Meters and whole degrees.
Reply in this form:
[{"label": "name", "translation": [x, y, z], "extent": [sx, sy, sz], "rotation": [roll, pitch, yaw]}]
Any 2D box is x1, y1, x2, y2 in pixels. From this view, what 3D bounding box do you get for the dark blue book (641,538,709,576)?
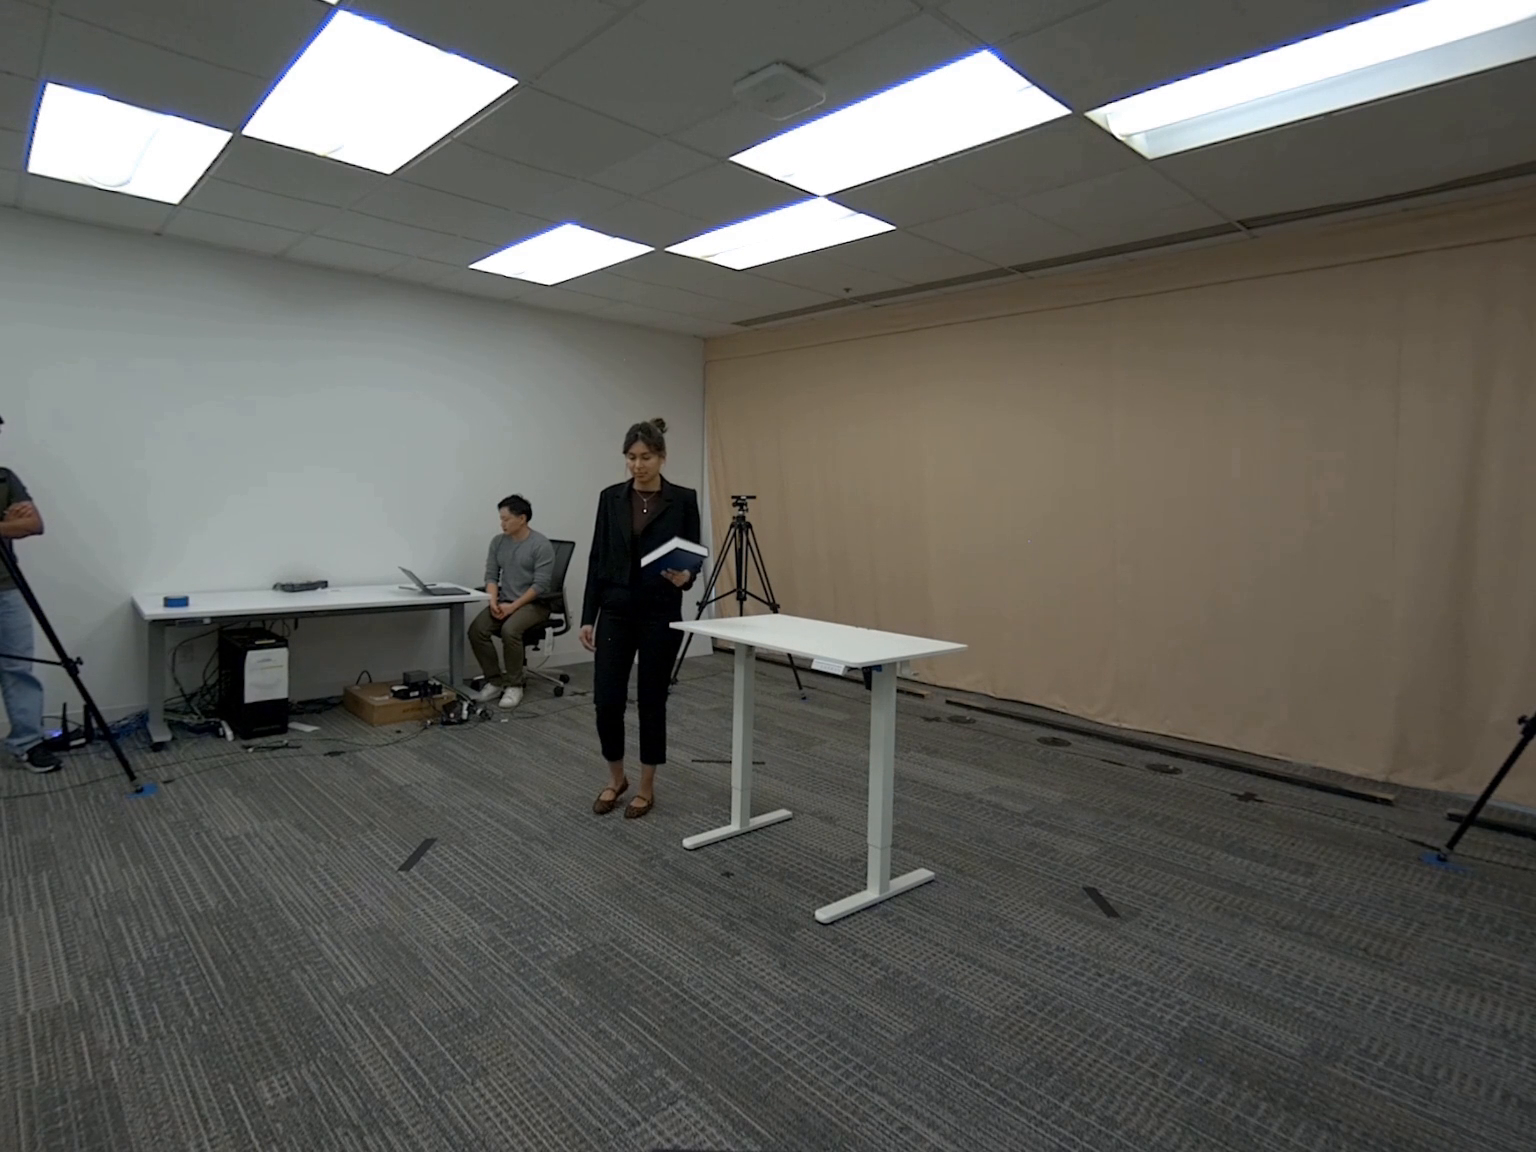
[{"label": "dark blue book", "translation": [-0.380, -0.069, 3.337], "extent": [0.159, 0.046, 0.248], "rotation": [19, -32, -39]}]
